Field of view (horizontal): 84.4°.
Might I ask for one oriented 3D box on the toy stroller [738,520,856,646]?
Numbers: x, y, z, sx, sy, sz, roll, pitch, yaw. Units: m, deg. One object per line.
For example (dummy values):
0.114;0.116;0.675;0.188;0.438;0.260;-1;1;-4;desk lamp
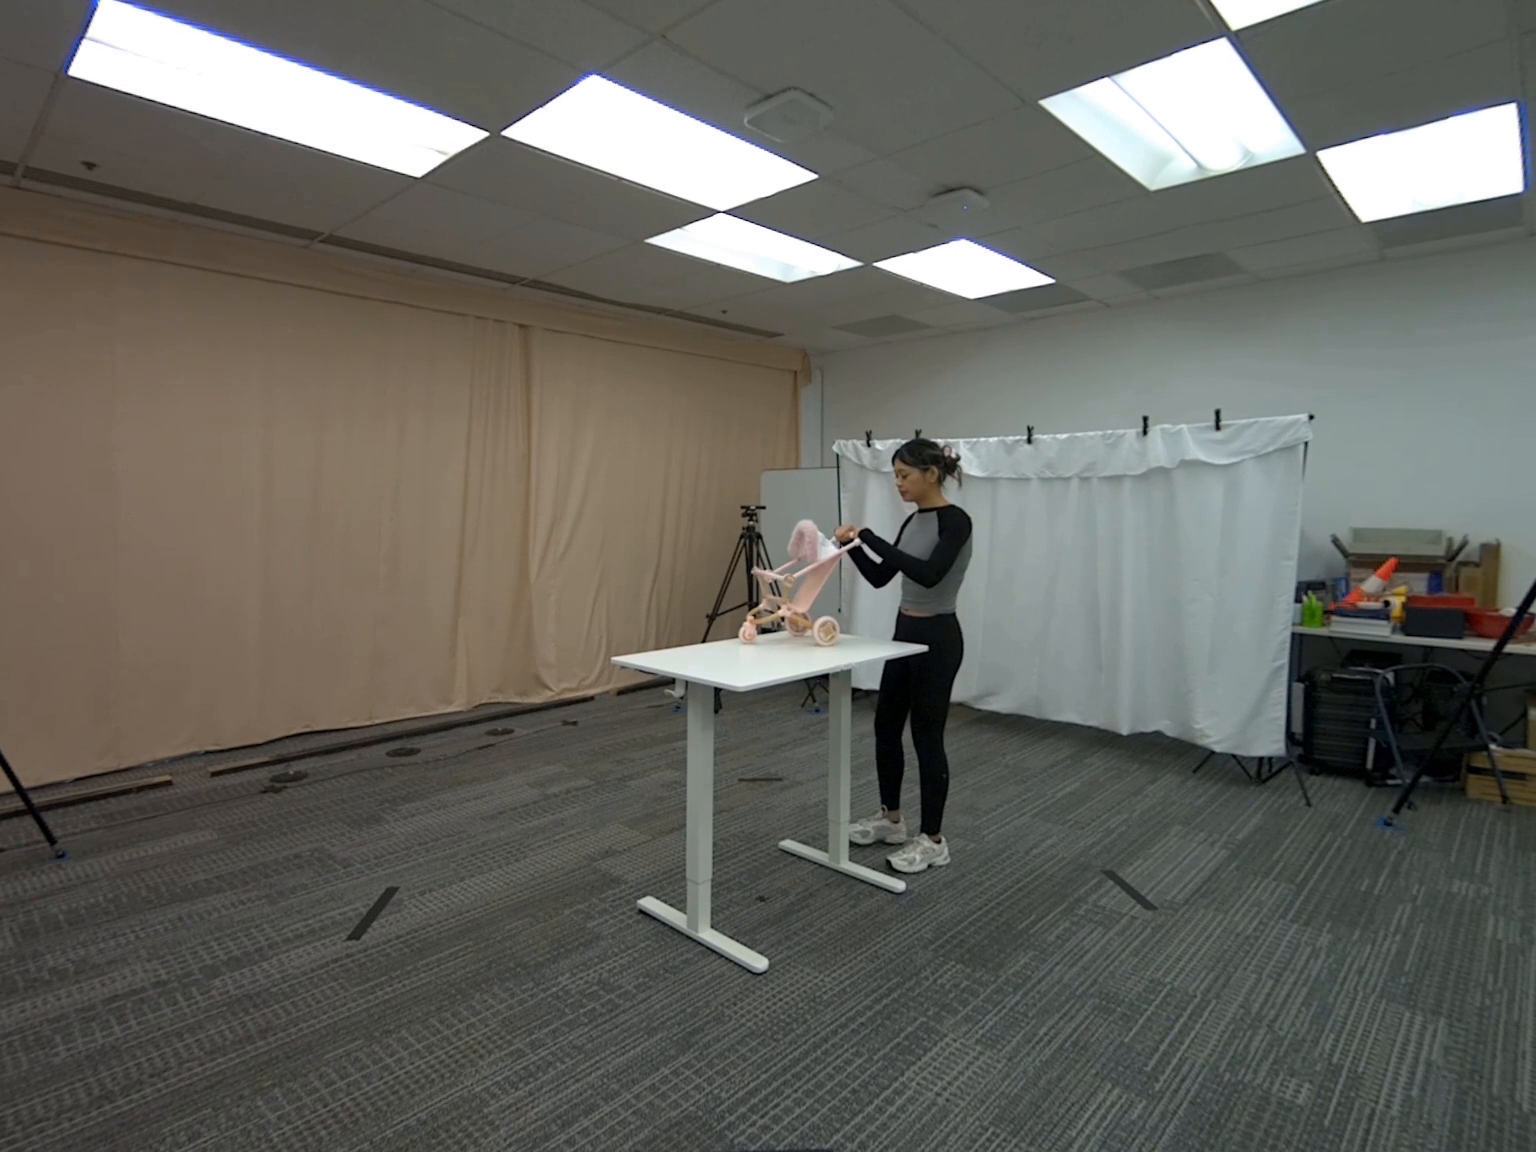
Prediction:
0.115;0.028;3.149;0.335;0.535;0.287;16;-1;-17;toy stroller
